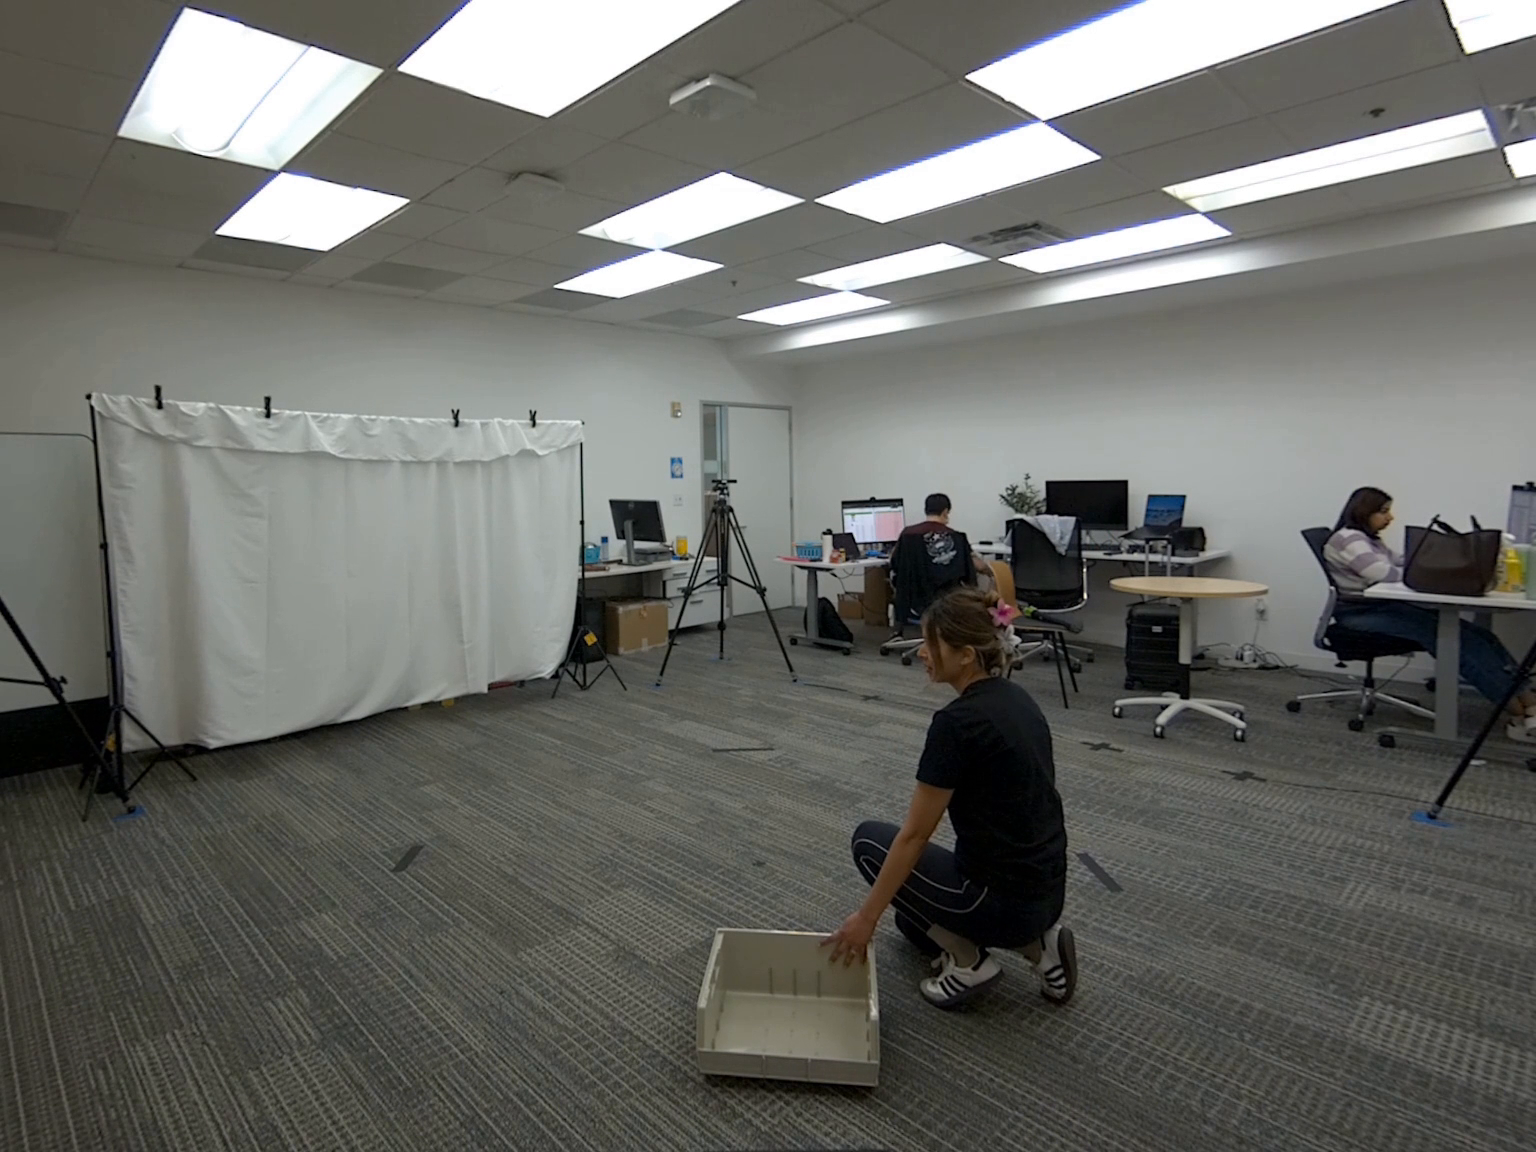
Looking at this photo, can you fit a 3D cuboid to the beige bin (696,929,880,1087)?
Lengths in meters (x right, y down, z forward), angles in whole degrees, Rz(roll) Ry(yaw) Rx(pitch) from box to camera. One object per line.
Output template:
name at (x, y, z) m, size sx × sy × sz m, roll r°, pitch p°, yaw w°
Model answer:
beige bin at (0.065, 1.075, 2.112) m, size 0.425 × 0.188 × 0.376 m, roll -1°, pitch 5°, yaw 6°
